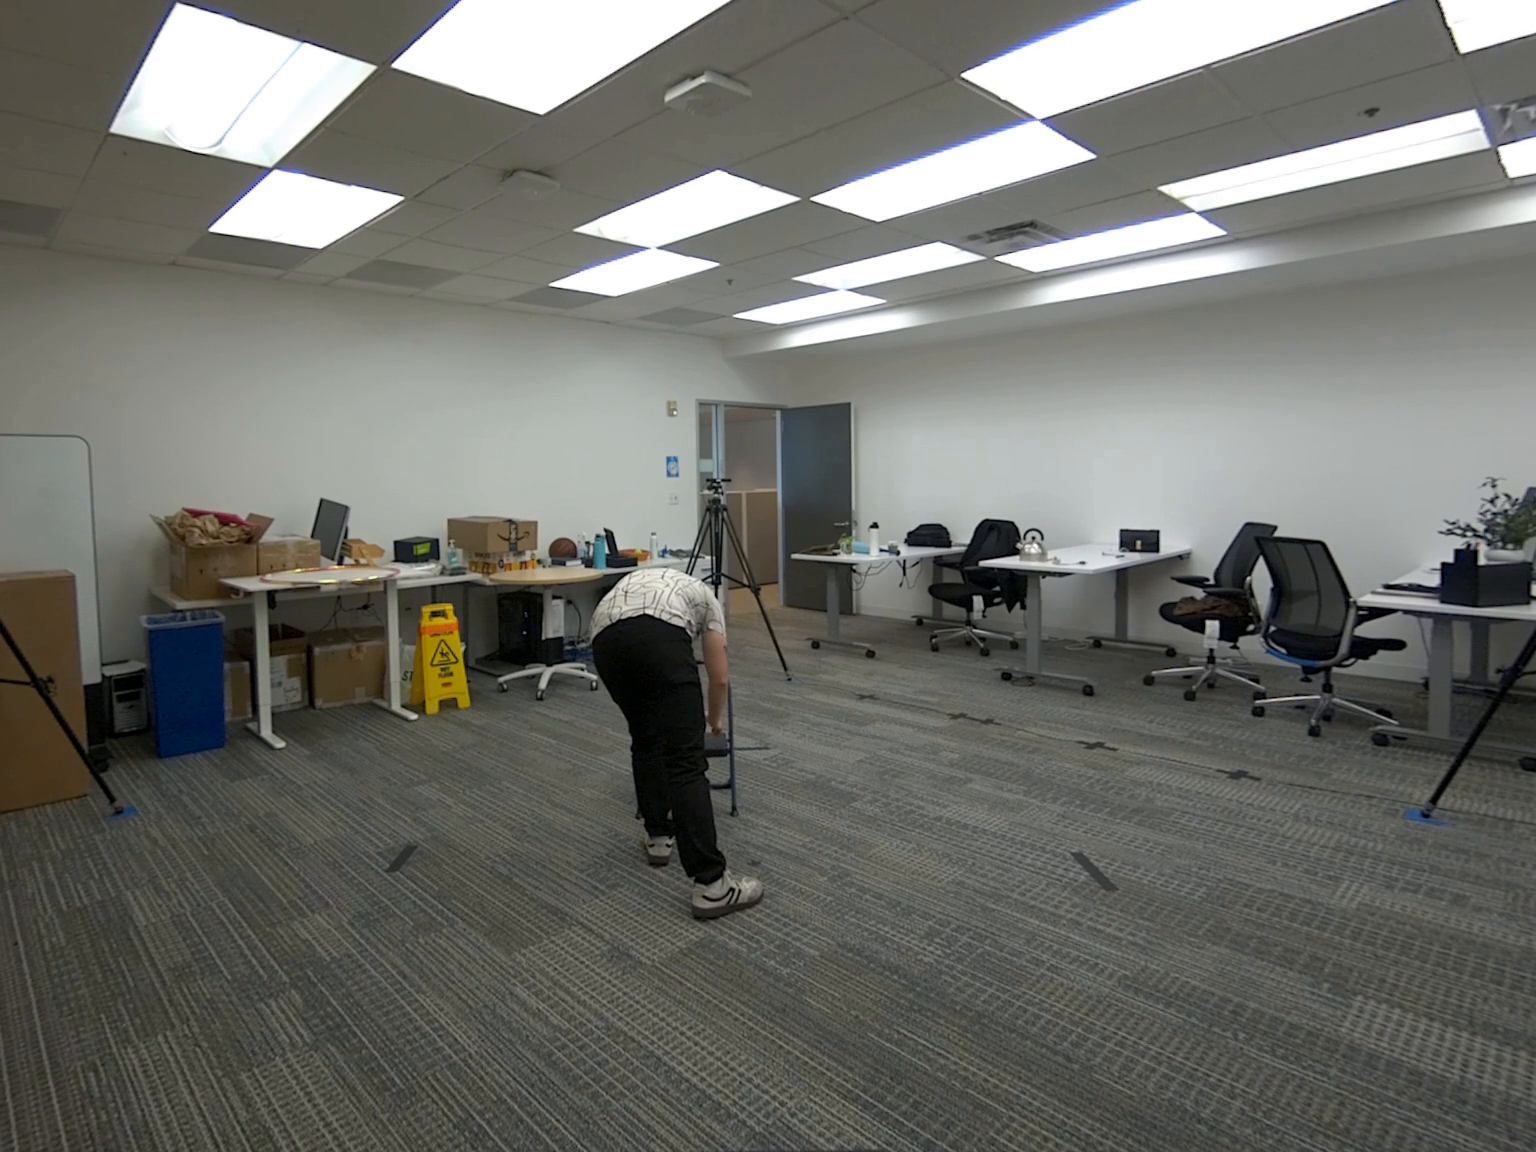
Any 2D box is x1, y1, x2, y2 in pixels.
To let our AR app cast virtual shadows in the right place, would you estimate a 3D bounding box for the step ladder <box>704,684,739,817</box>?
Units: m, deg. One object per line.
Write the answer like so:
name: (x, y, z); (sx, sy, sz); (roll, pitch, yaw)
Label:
step ladder: (-0.352, 0.680, 3.699); (0.430, 0.604, 0.351); (-1, 4, -3)
